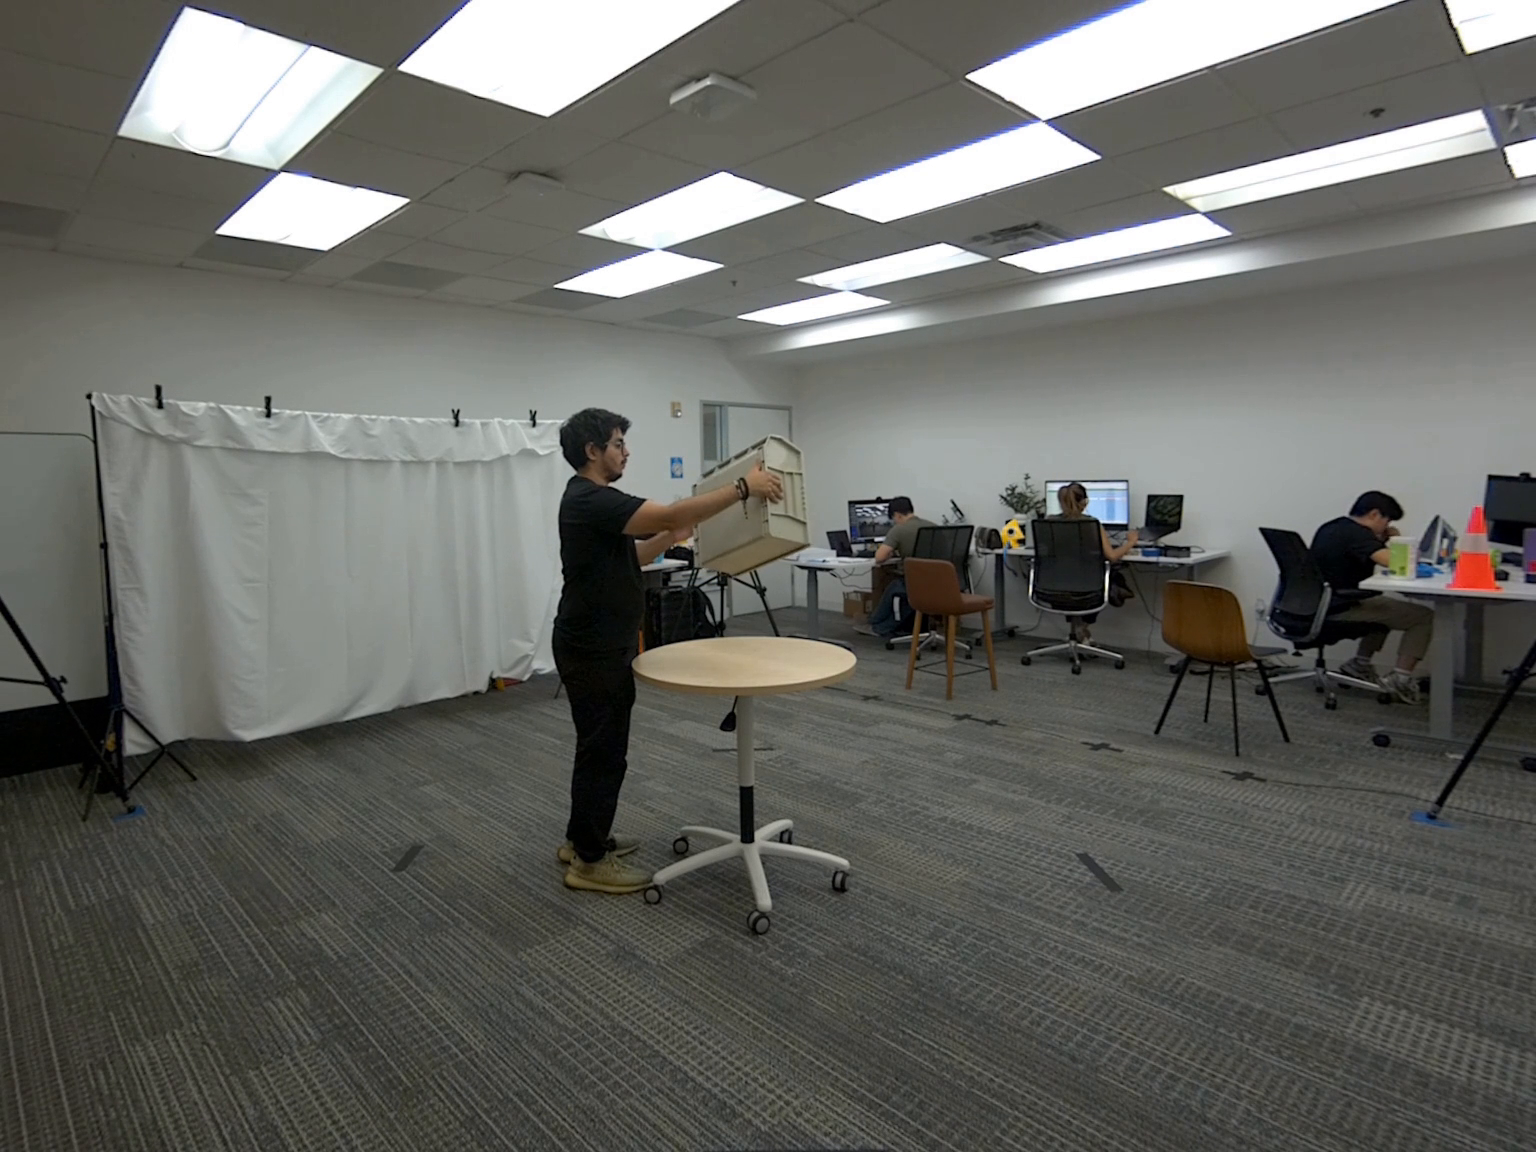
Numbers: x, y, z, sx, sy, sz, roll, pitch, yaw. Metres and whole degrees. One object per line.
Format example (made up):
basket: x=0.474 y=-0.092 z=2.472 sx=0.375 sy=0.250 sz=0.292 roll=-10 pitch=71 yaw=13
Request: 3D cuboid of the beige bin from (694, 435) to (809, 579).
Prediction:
beige bin: x=-0.072 y=-0.233 z=2.977 sx=0.183 sy=0.384 sz=0.429 roll=13 pitch=-24 yaw=-38
